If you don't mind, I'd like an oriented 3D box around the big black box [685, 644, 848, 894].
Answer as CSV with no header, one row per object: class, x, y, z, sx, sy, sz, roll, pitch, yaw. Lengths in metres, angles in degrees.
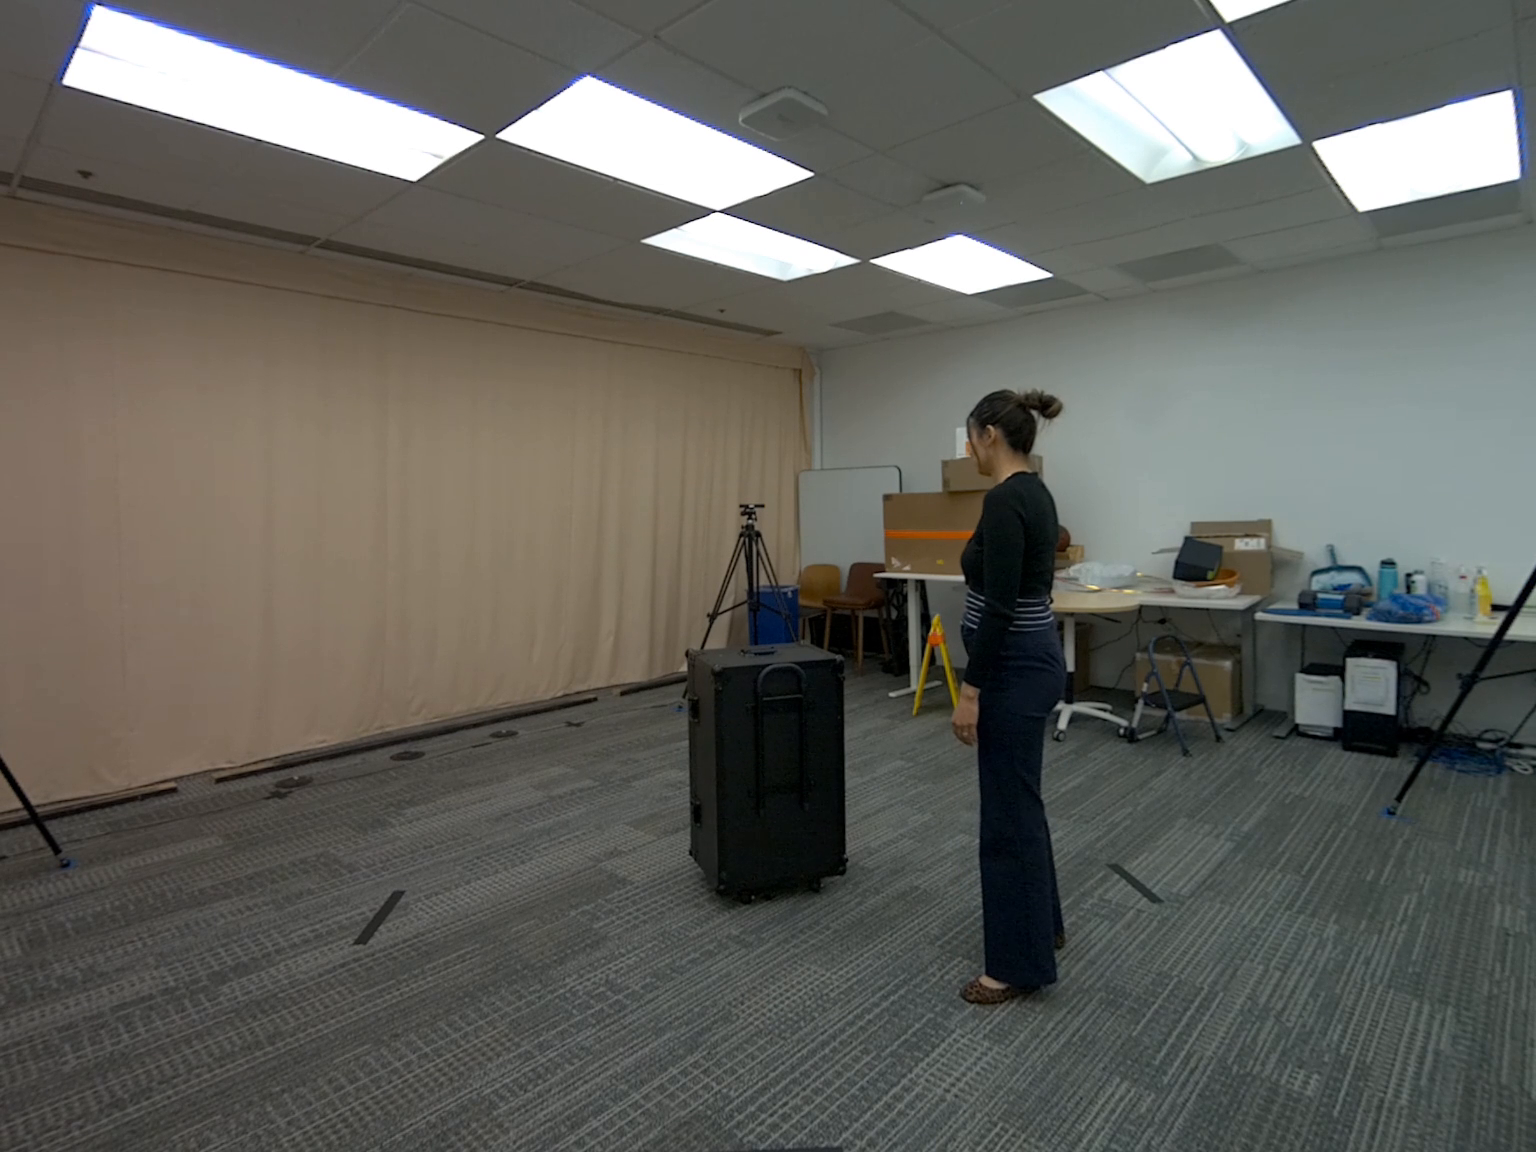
big black box,-0.009,0.645,3.061,0.511,0.860,0.405,-2,3,-20
